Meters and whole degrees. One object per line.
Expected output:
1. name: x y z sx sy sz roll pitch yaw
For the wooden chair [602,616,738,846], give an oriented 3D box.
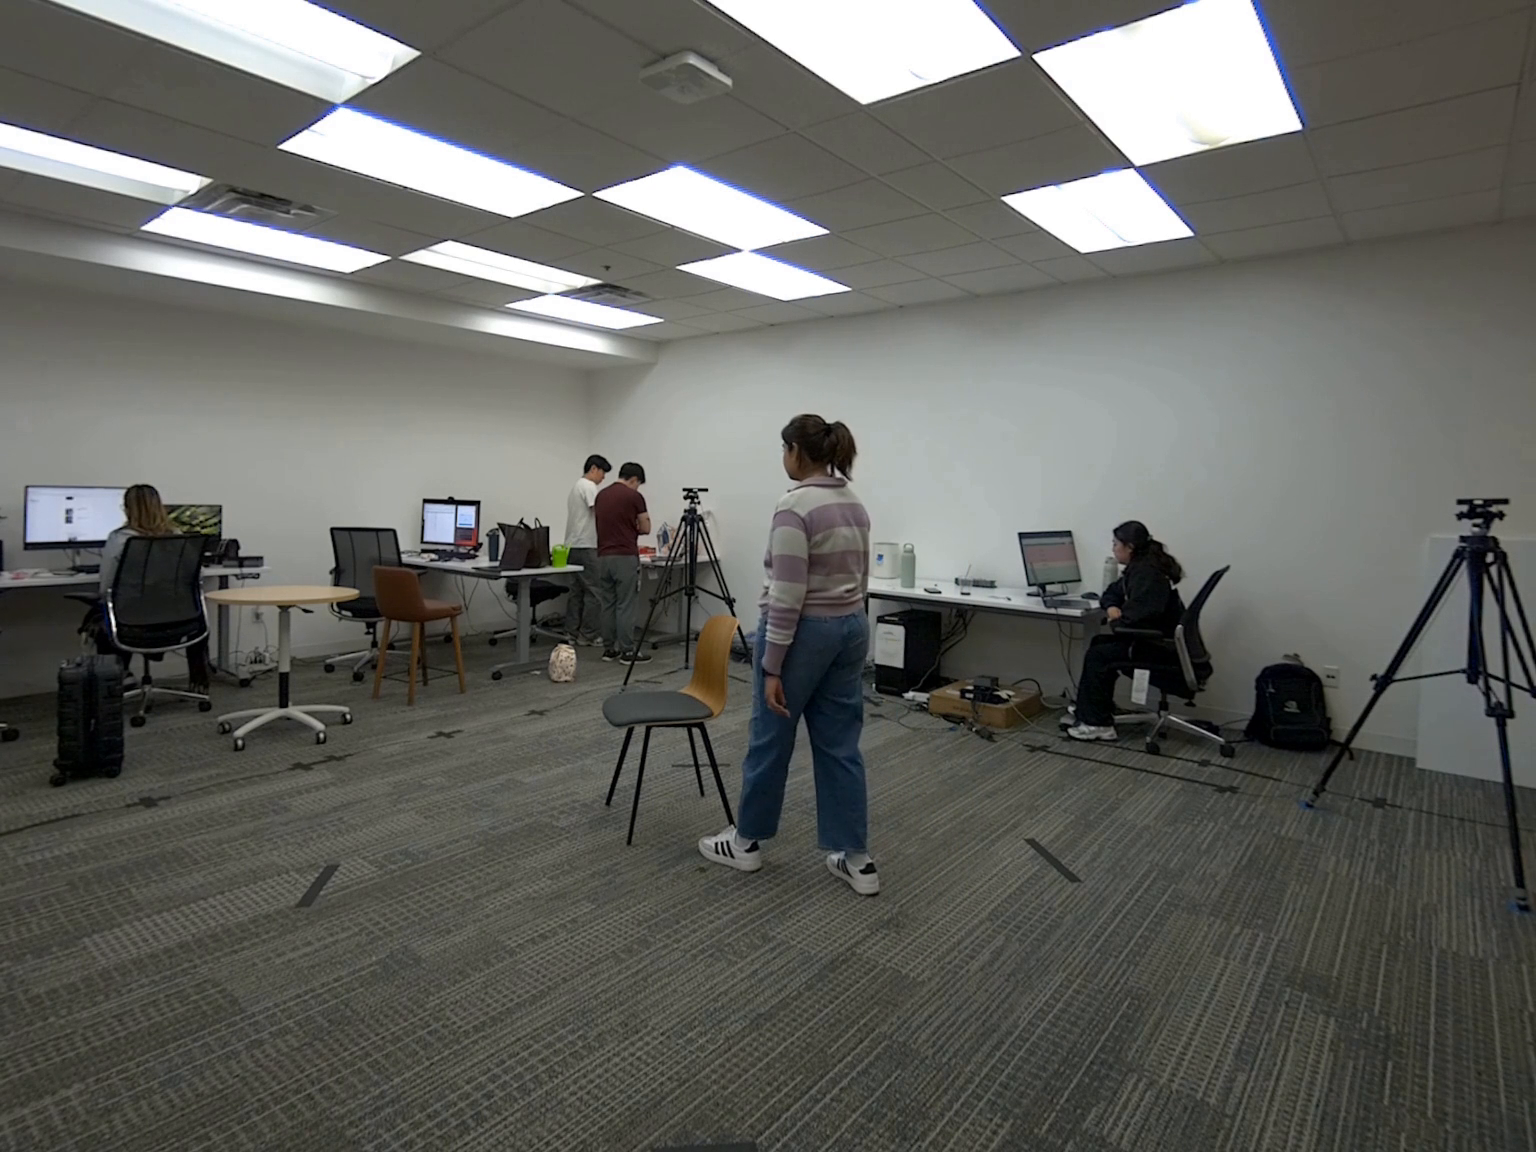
1. wooden chair: -0.432 0.597 3.554 0.512 0.875 0.490 4 3 -21
